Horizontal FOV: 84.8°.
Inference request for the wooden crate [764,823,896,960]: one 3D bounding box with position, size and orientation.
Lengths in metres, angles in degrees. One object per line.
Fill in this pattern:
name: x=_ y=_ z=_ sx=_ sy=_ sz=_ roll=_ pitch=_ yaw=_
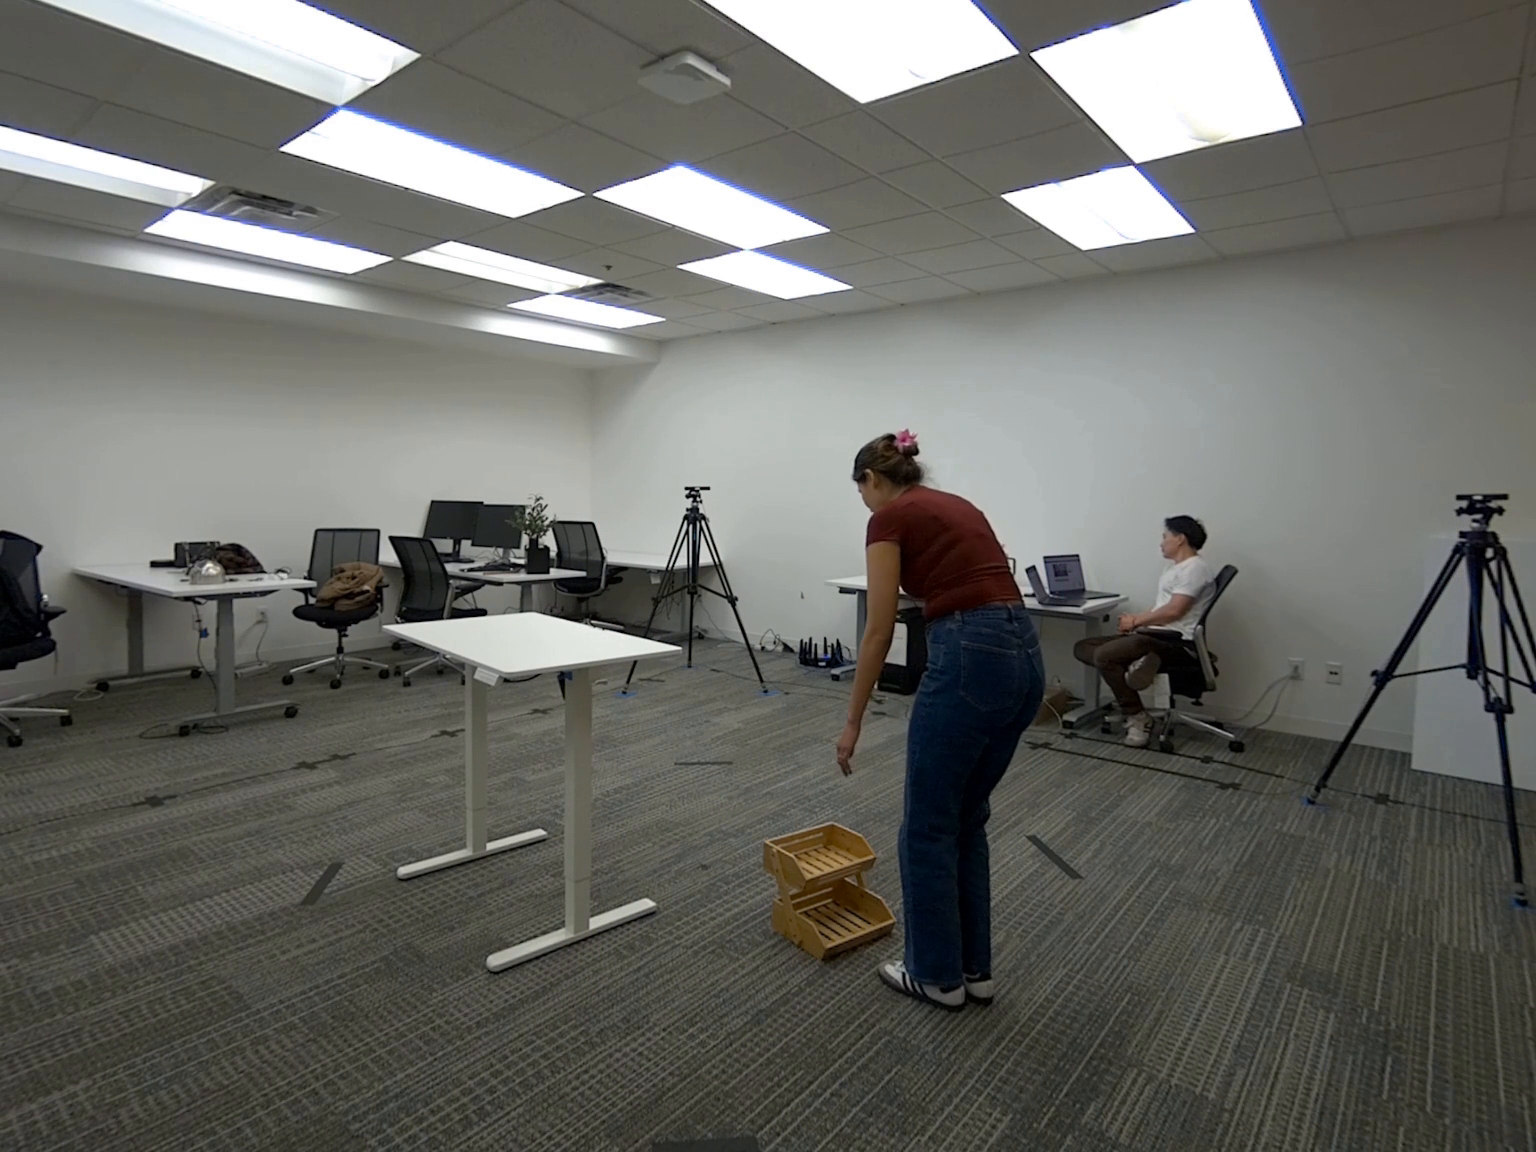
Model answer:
wooden crate: x=0.190 y=0.979 z=2.692 sx=0.315 sy=0.272 sz=0.312 roll=-2 pitch=5 yaw=-37
